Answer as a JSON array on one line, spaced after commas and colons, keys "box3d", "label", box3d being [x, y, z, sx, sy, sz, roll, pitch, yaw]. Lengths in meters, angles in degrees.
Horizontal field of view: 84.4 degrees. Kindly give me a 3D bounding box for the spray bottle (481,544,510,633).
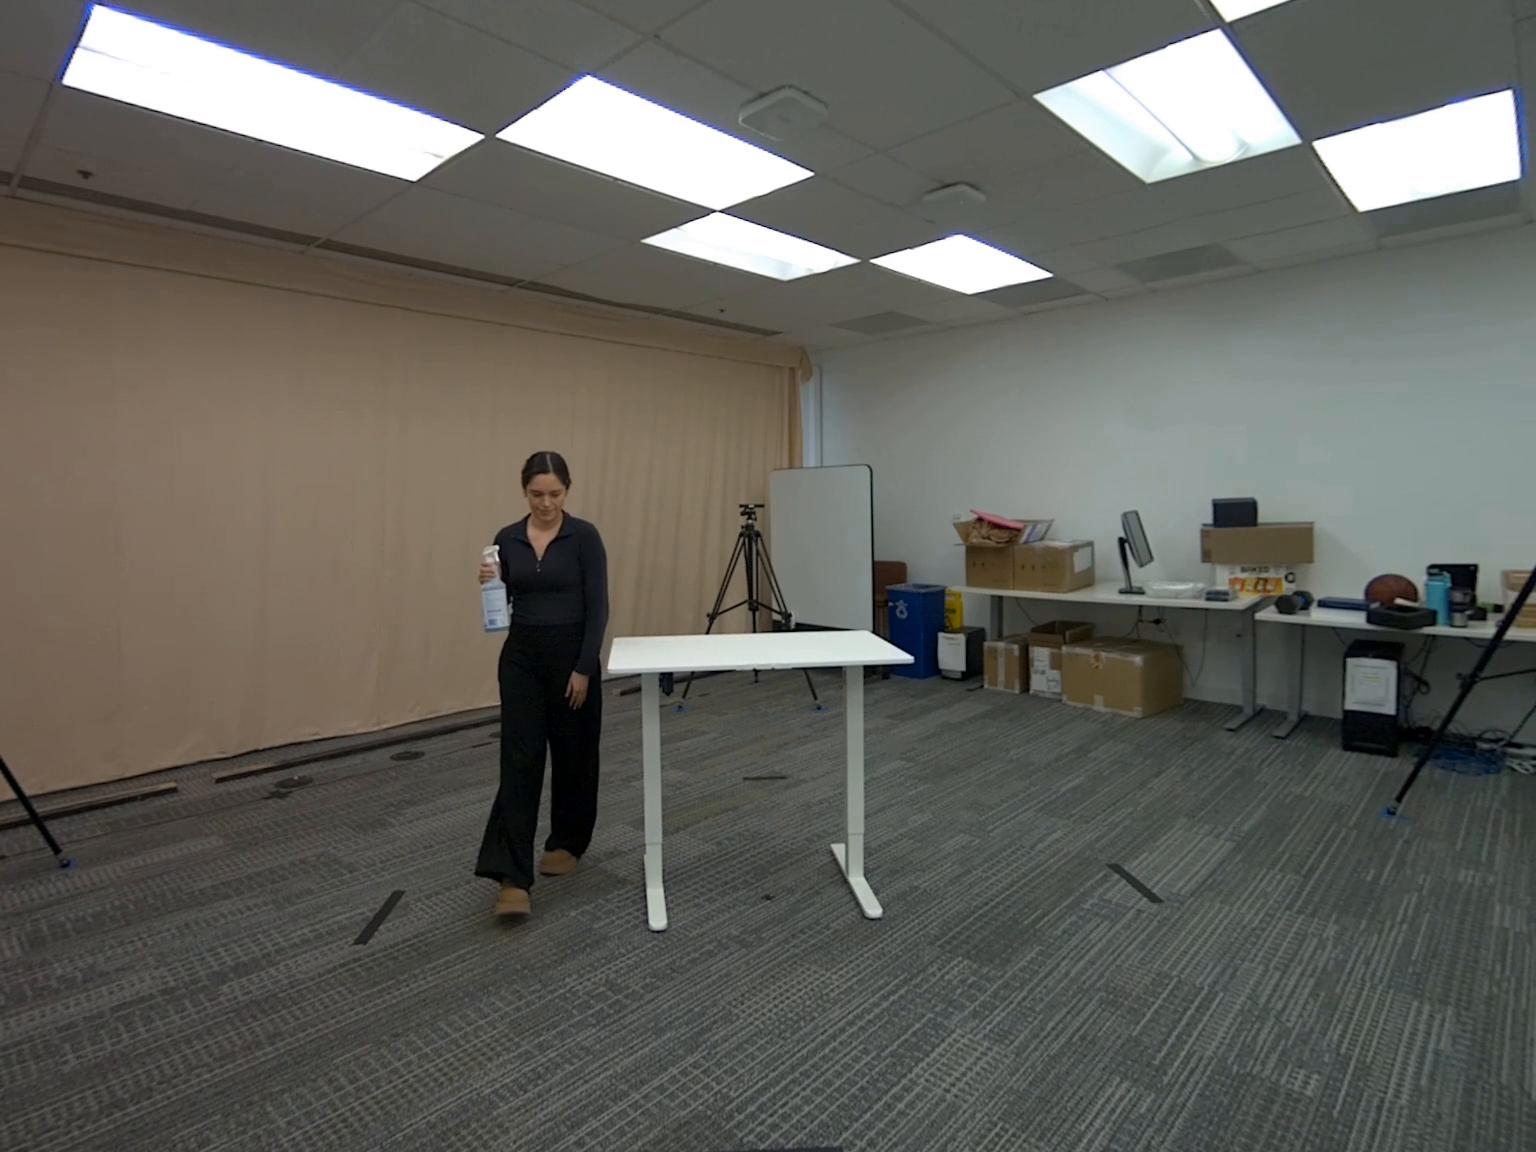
[{"box3d": [-0.954, 0.043, 2.948, 0.085, 0.297, 0.092, -5, 2, -21], "label": "spray bottle"}]
